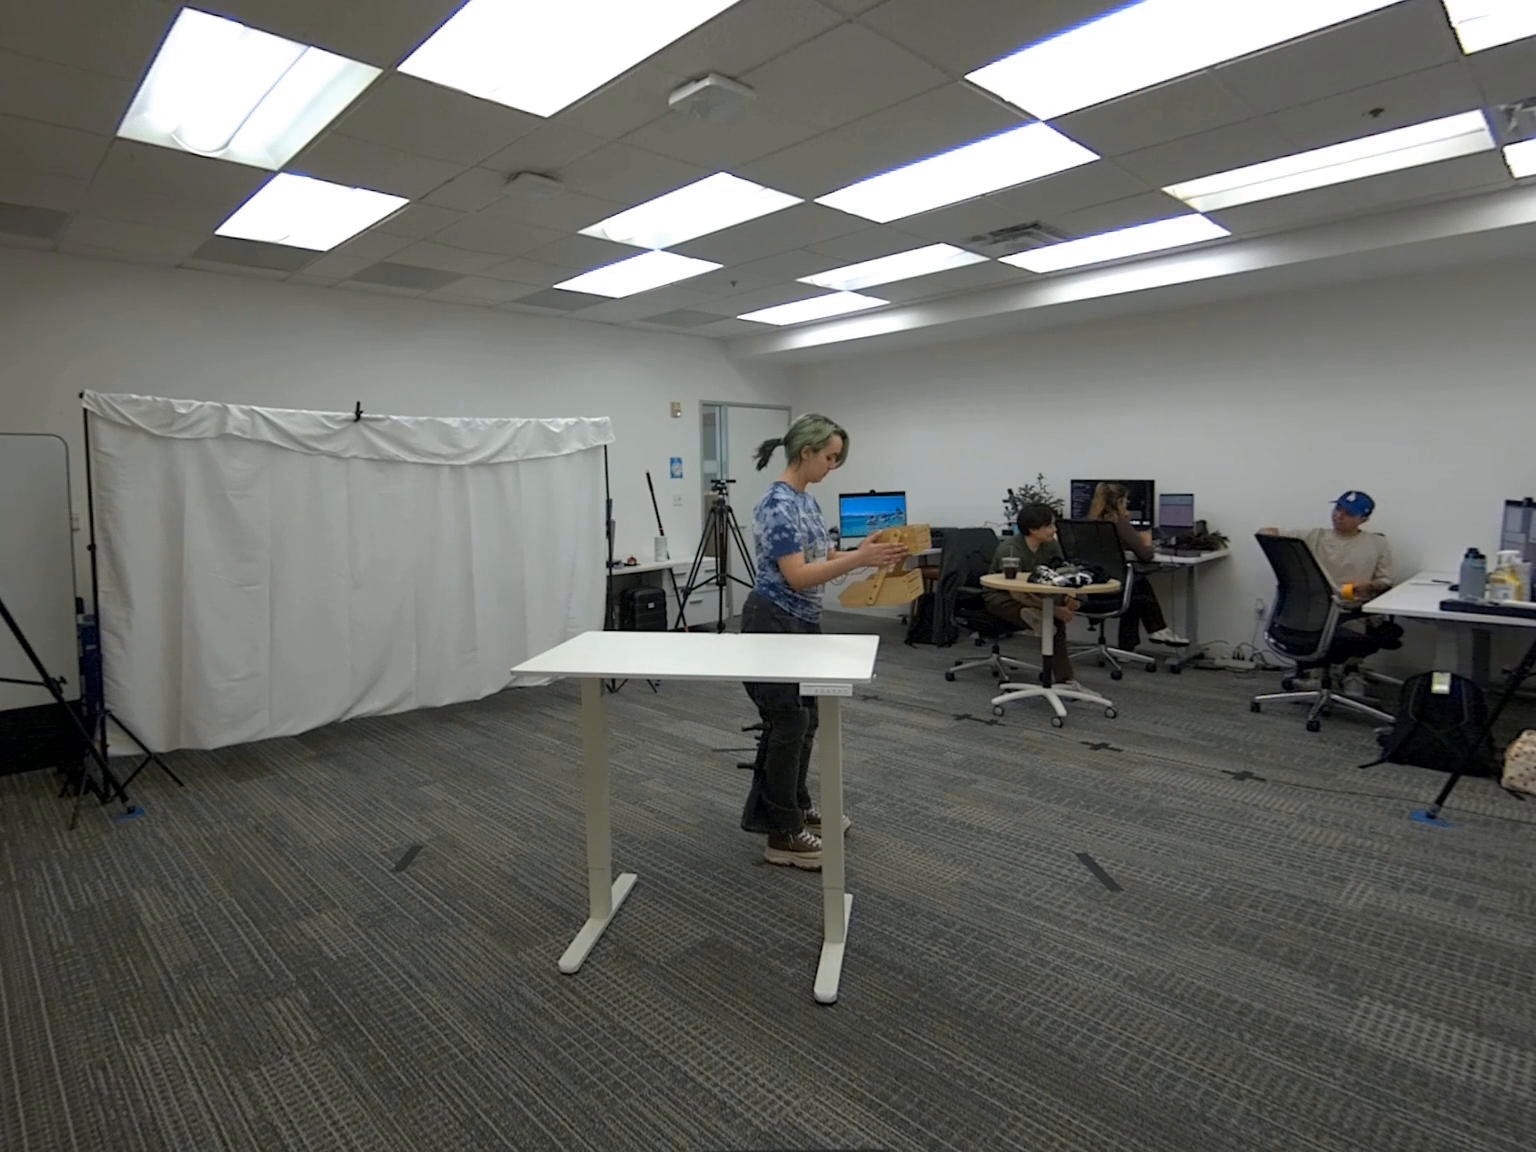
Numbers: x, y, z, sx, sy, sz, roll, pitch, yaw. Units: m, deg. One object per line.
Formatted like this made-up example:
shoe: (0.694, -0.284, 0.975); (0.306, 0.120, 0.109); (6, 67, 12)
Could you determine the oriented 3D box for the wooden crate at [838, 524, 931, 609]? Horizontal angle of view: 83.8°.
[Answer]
wooden crate: (0.421, -0.040, 3.123); (0.307, 0.273, 0.319); (-7, 2, 22)
